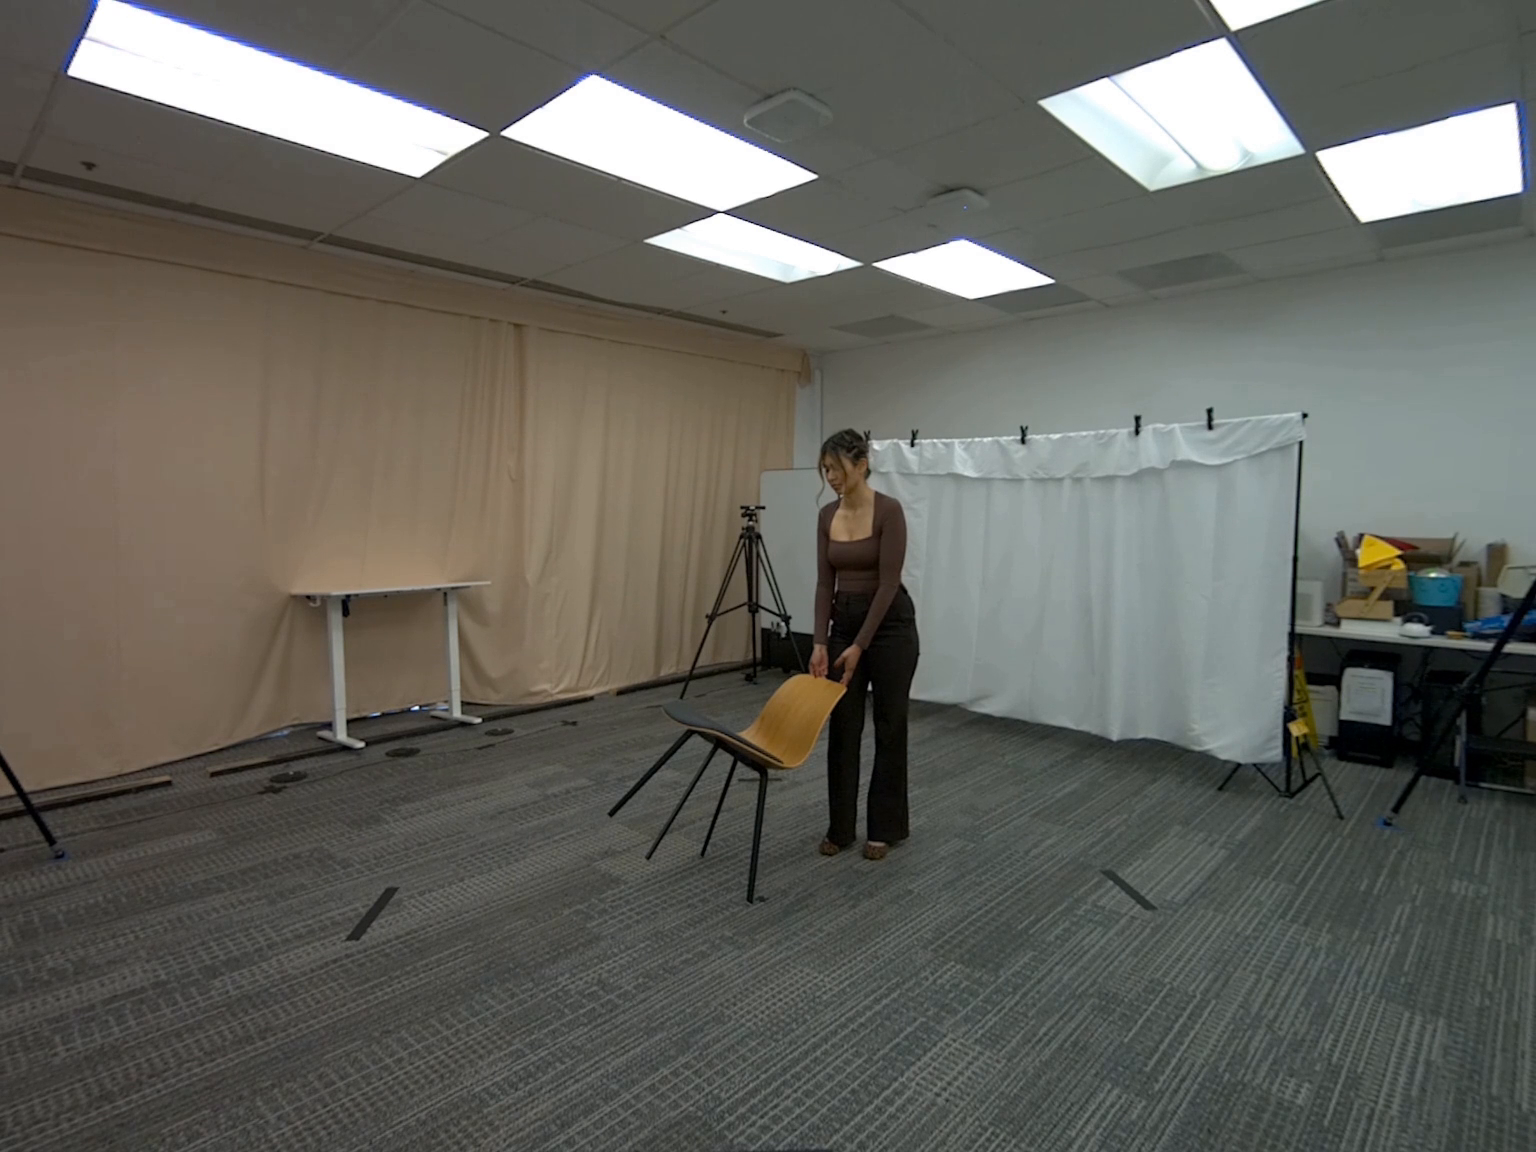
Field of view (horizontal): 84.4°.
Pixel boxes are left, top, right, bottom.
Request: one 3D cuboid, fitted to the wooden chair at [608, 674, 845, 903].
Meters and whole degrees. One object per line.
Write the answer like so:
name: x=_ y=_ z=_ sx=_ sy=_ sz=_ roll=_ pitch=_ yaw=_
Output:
wooden chair: x=-0.141 y=0.645 z=3.122 sx=0.510 sy=0.877 sz=0.491 roll=36 pitch=-11 yaw=-23
